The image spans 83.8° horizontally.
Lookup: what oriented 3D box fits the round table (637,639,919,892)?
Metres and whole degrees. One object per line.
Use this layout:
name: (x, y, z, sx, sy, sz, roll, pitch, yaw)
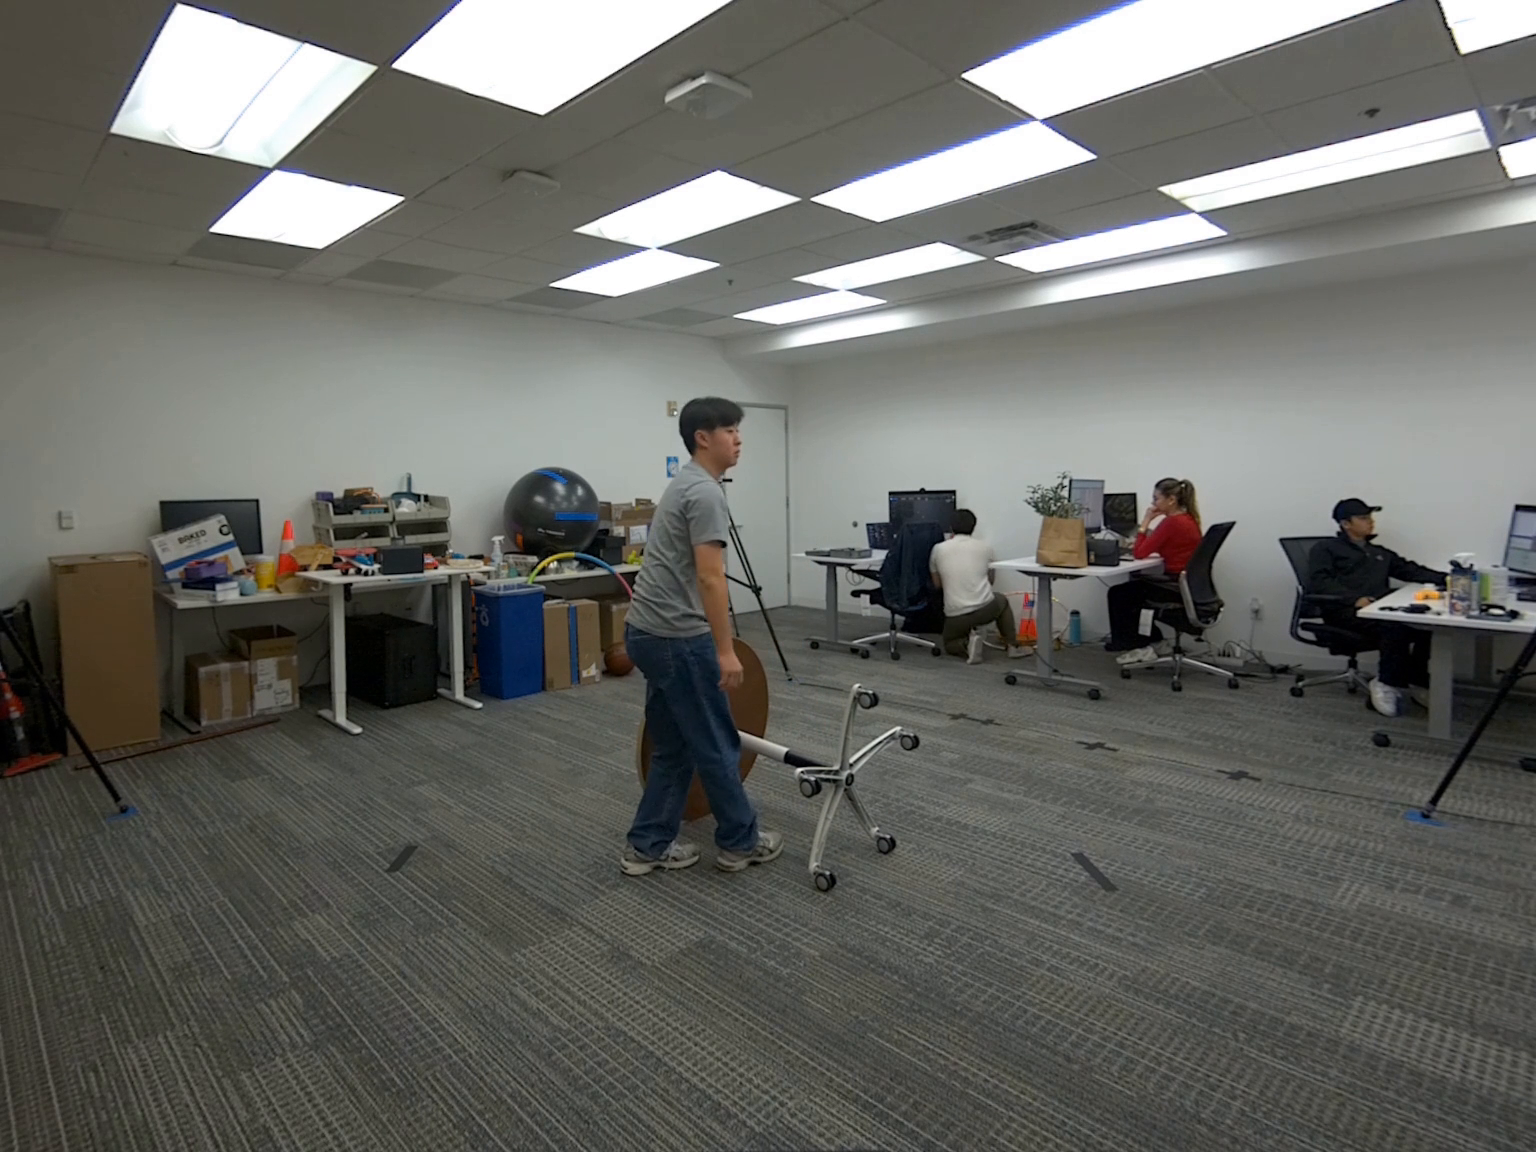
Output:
round table: (0.056, 0.683, 3.263, 0.820, 0.759, 0.744, 11, 11, 40)
